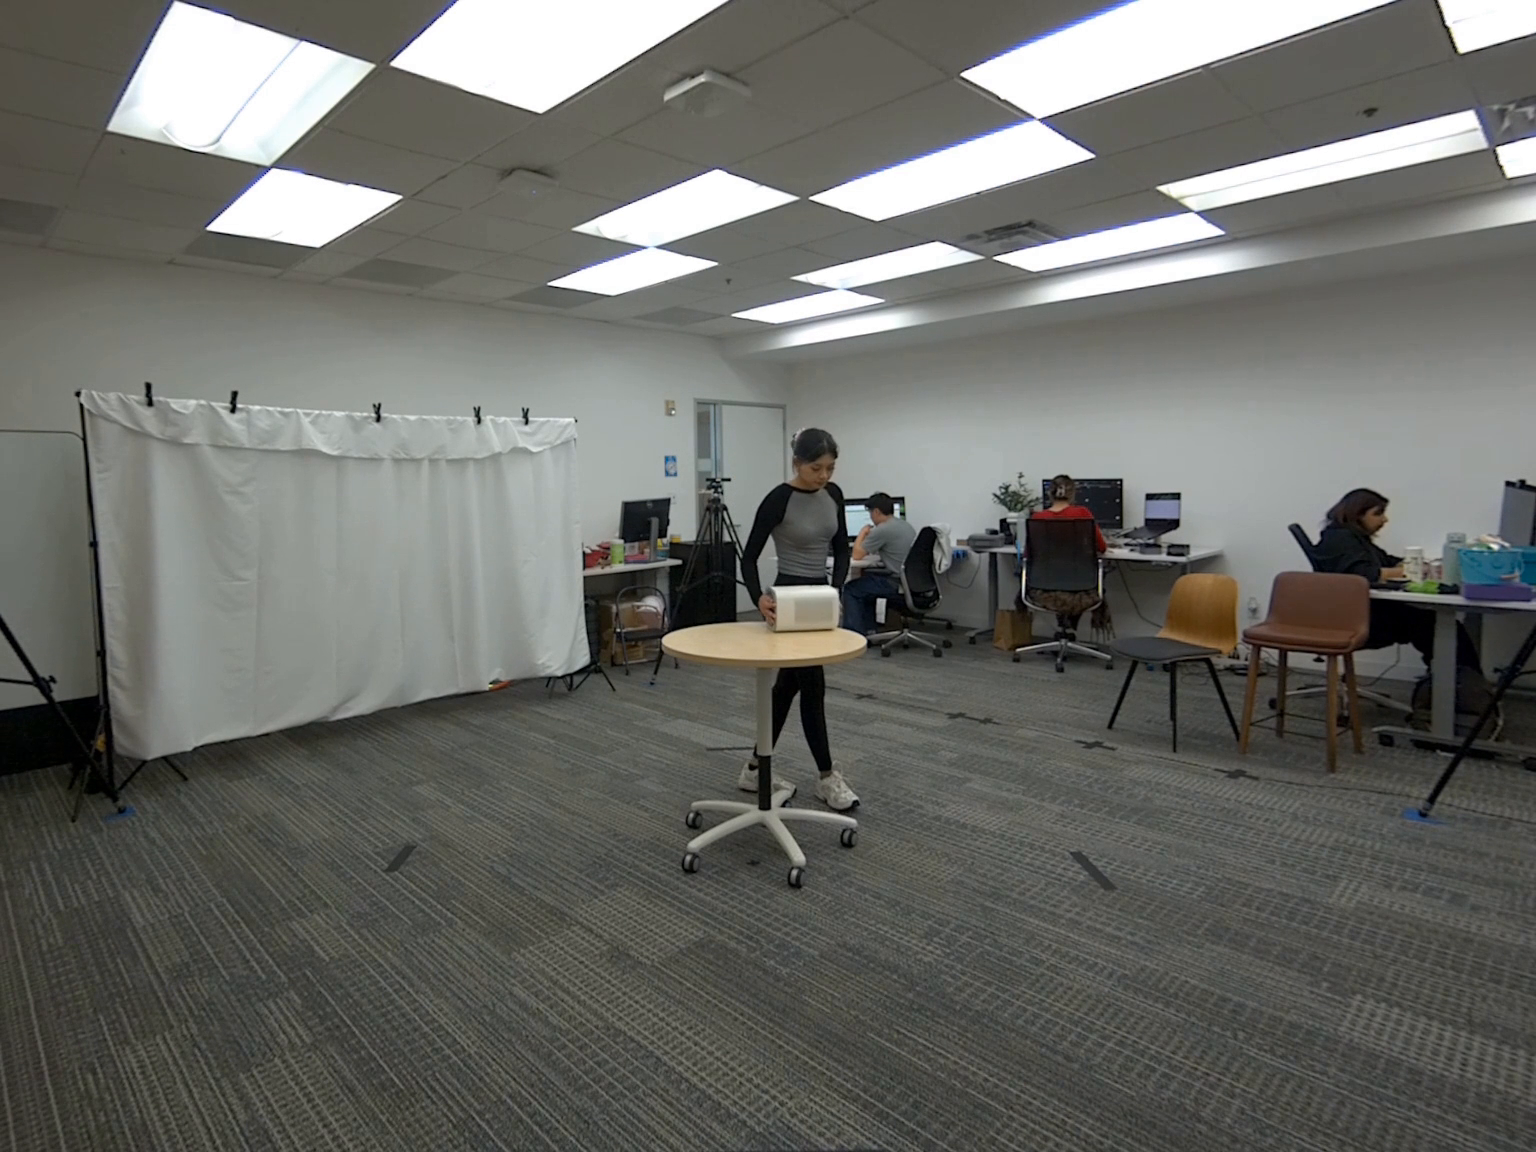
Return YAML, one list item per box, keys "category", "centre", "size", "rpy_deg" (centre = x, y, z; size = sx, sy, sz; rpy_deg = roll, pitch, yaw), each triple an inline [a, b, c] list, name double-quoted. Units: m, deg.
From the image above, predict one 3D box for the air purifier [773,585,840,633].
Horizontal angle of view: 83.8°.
- category: "air purifier"
  centre: [0.134, 0.128, 3.406]
  size: [0.263, 0.171, 0.173]
  rpy_deg: [-1, 5, -10]
